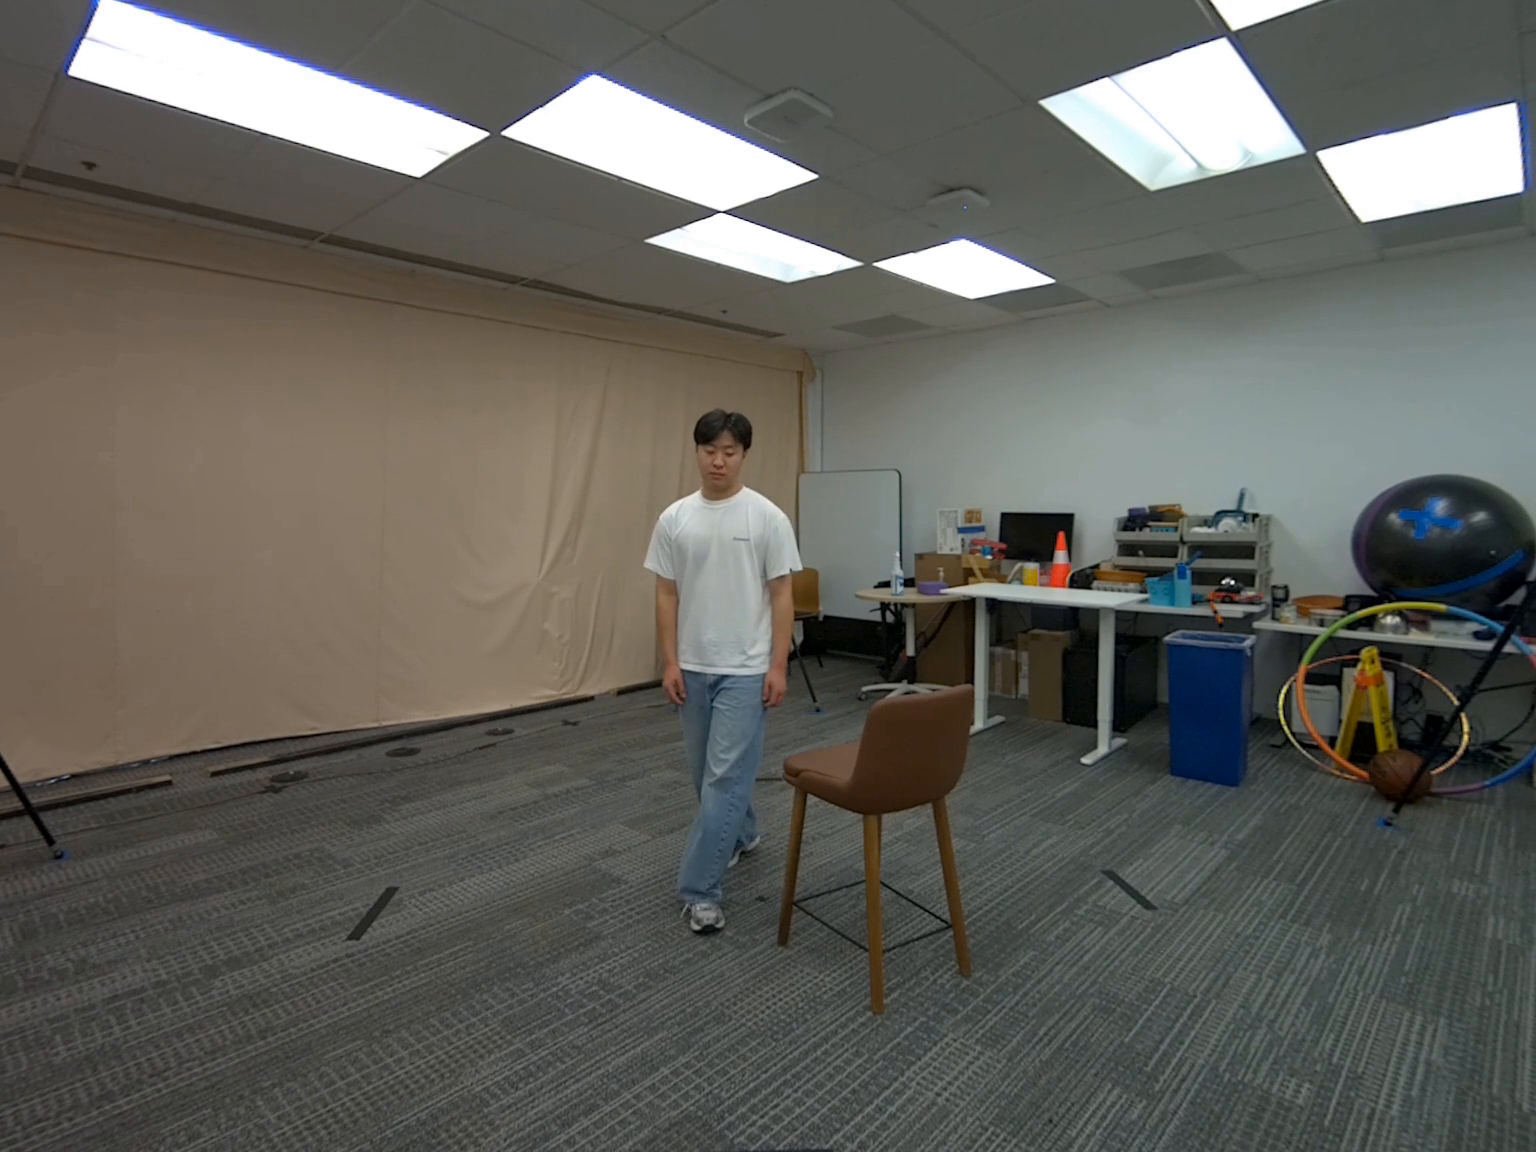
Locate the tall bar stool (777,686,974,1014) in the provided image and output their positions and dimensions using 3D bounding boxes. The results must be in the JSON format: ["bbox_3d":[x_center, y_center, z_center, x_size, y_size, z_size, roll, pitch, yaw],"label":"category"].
[{"bbox_3d":[0.334,0.742,2.559,0.443,0.887,0.482,-2,6,-34],"label":"tall bar stool"}]
